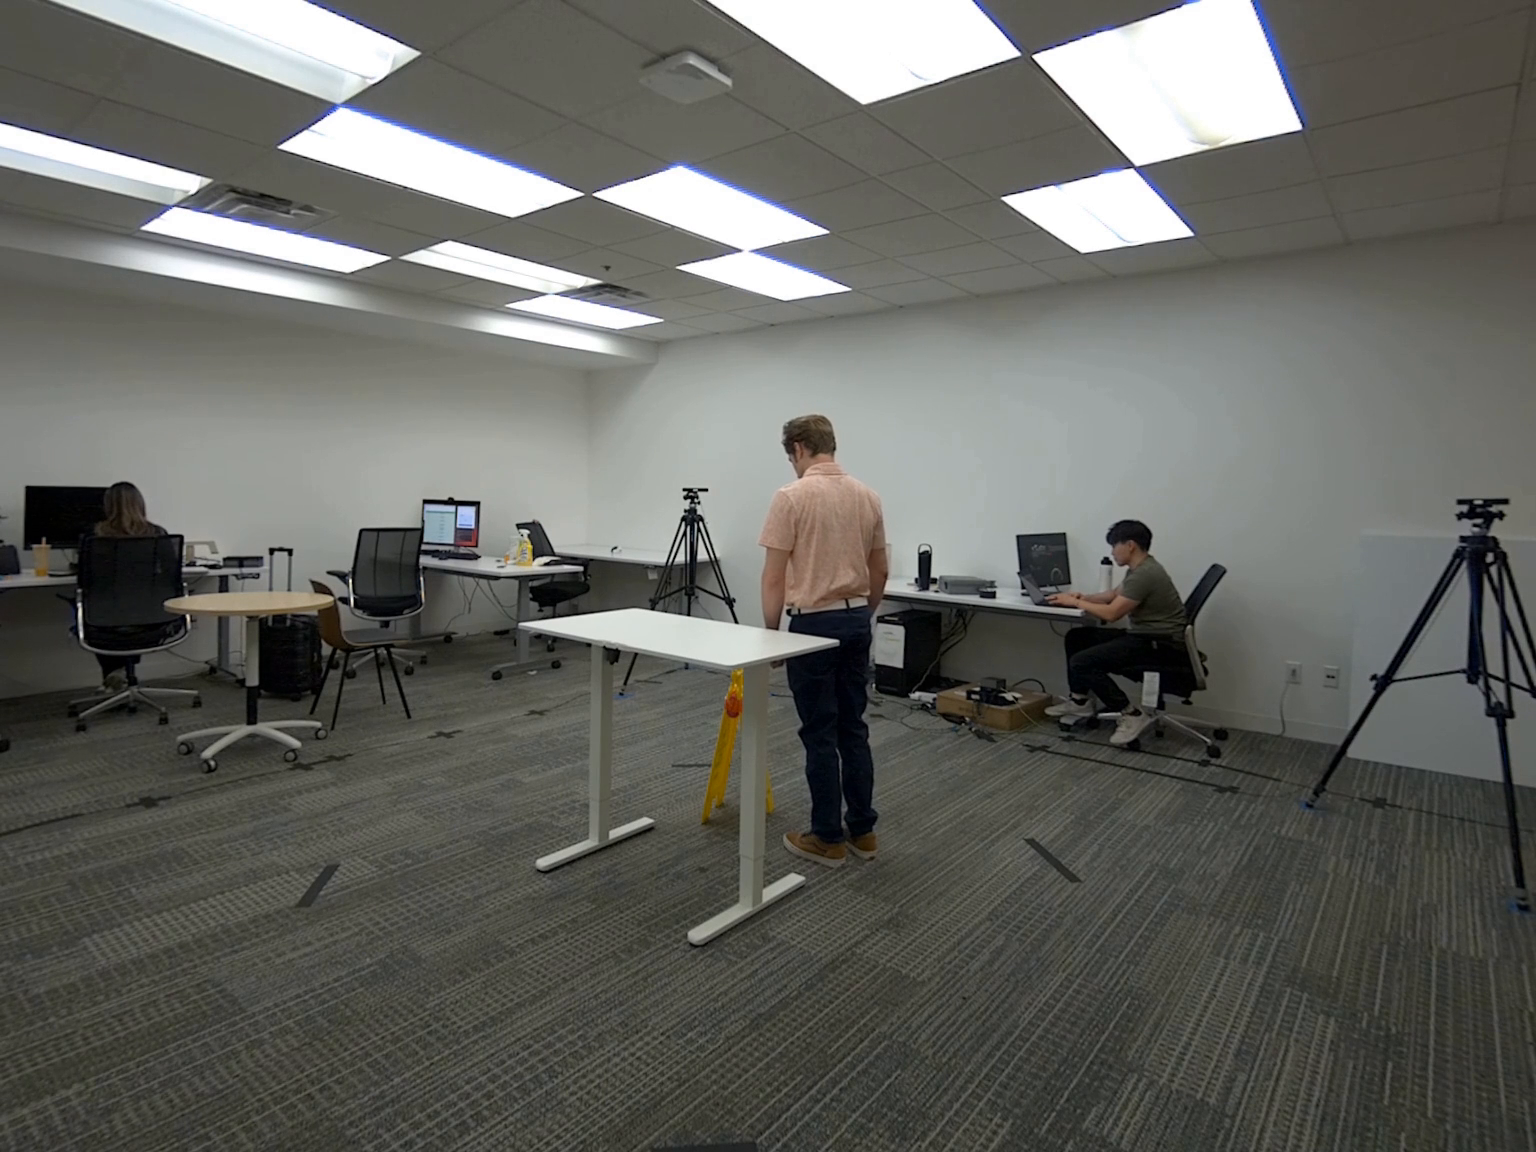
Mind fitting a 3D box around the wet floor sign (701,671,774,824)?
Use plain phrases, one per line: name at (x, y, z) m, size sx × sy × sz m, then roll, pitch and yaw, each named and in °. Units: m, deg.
wet floor sign at (-0.127, 0.698, 3.612) m, size 0.294 × 0.644 × 0.279 m, roll 2°, pitch 4°, yaw 14°
